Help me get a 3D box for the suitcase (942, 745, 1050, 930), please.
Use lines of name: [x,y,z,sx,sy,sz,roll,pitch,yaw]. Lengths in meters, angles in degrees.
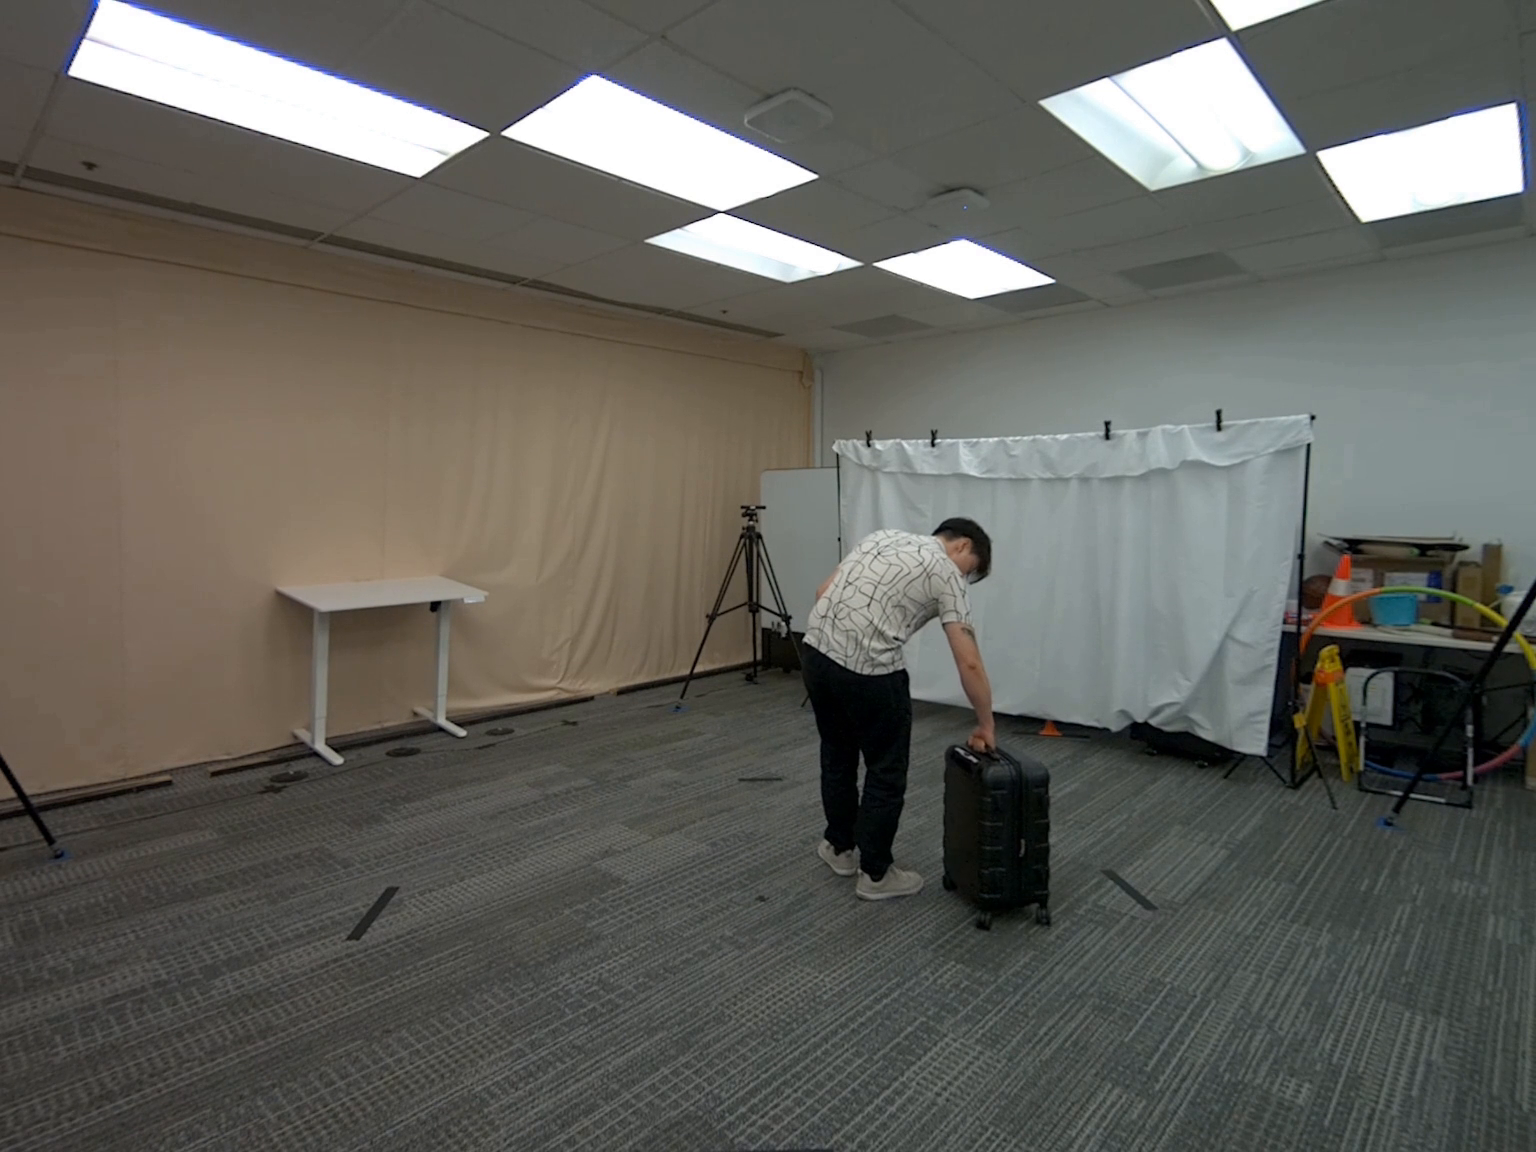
suitcase: [0.792,0.871,2.936,0.245,0.548,0.381,1,2,-14]
